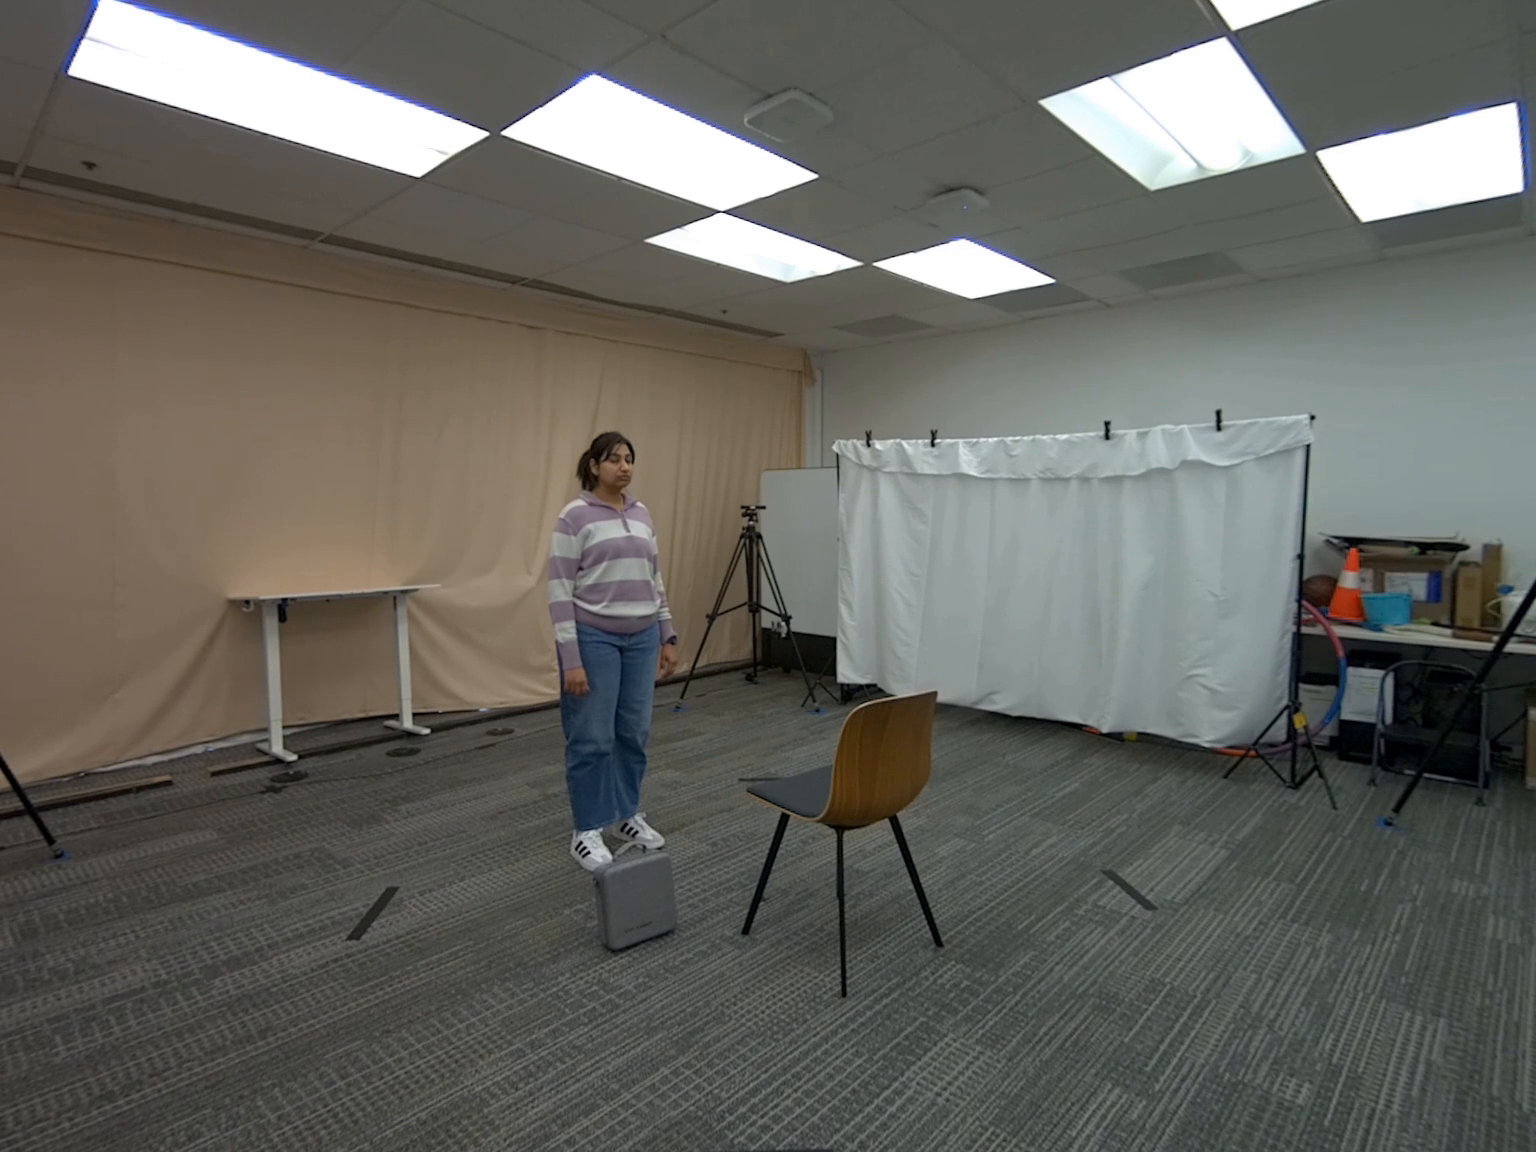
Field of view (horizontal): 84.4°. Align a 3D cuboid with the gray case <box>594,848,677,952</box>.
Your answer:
[{"bbox_3d":[-0.425,1.031,2.717,0.250,0.261,0.107,-3,-2,-31],"label":"gray case"}]
